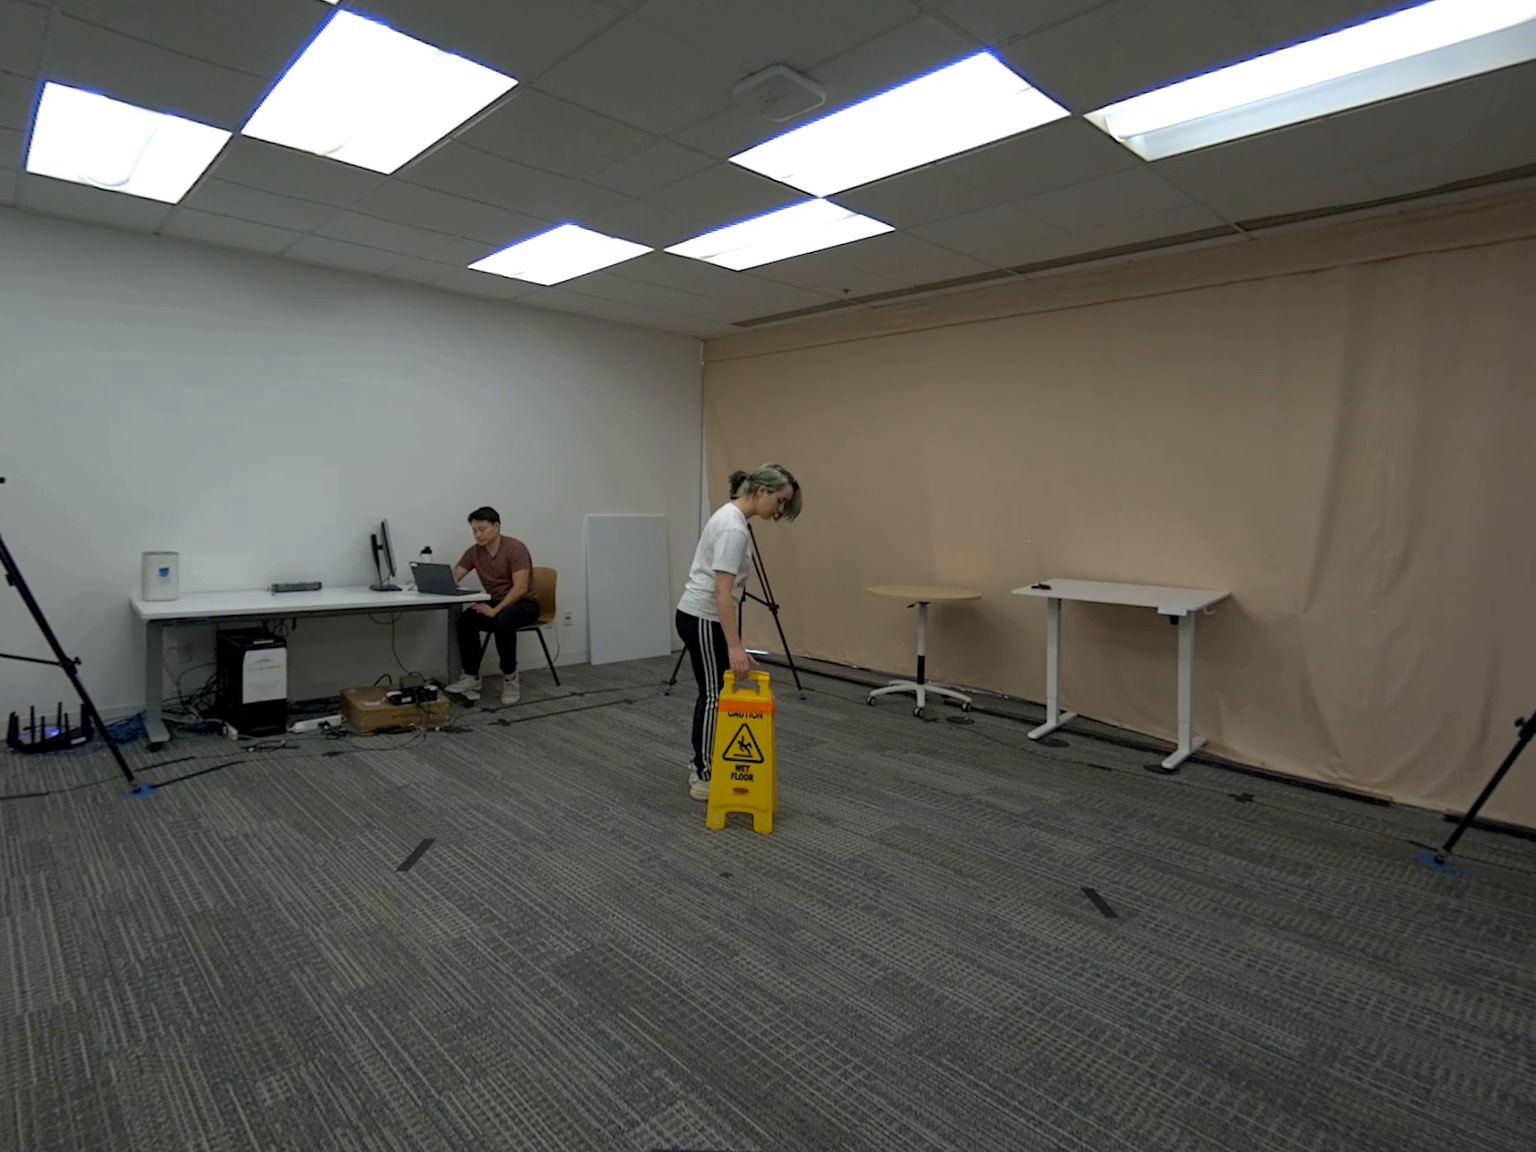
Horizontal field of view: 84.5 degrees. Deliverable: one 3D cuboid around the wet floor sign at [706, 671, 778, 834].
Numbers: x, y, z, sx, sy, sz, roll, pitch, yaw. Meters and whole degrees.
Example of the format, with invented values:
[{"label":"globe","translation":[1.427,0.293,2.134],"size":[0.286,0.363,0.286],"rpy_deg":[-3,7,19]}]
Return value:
[{"label":"wet floor sign","translation":[-0.104,0.730,3.630],"size":[0.284,0.644,0.289],"rpy_deg":[0,4,6]}]
